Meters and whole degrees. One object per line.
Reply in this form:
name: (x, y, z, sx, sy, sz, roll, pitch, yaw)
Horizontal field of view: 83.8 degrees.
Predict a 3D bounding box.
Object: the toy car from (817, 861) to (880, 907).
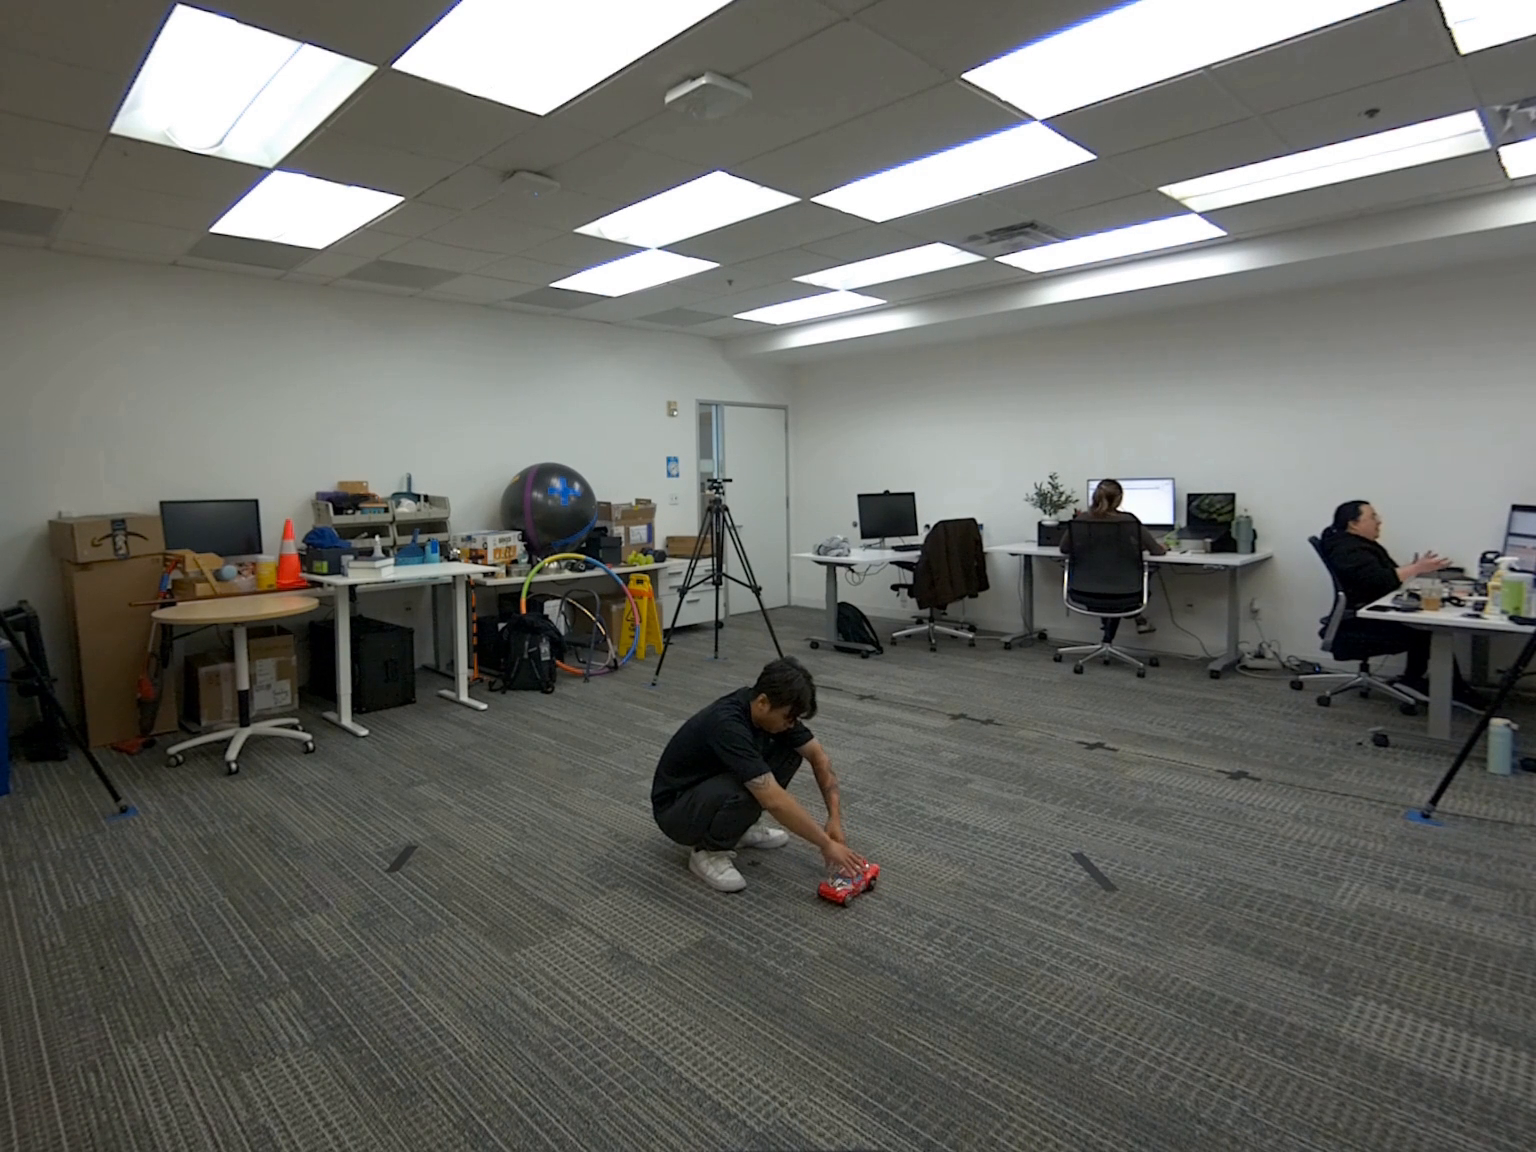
toy car: (0.281, 1.034, 2.878, 0.134, 0.082, 0.250, 3, 17, 41)
